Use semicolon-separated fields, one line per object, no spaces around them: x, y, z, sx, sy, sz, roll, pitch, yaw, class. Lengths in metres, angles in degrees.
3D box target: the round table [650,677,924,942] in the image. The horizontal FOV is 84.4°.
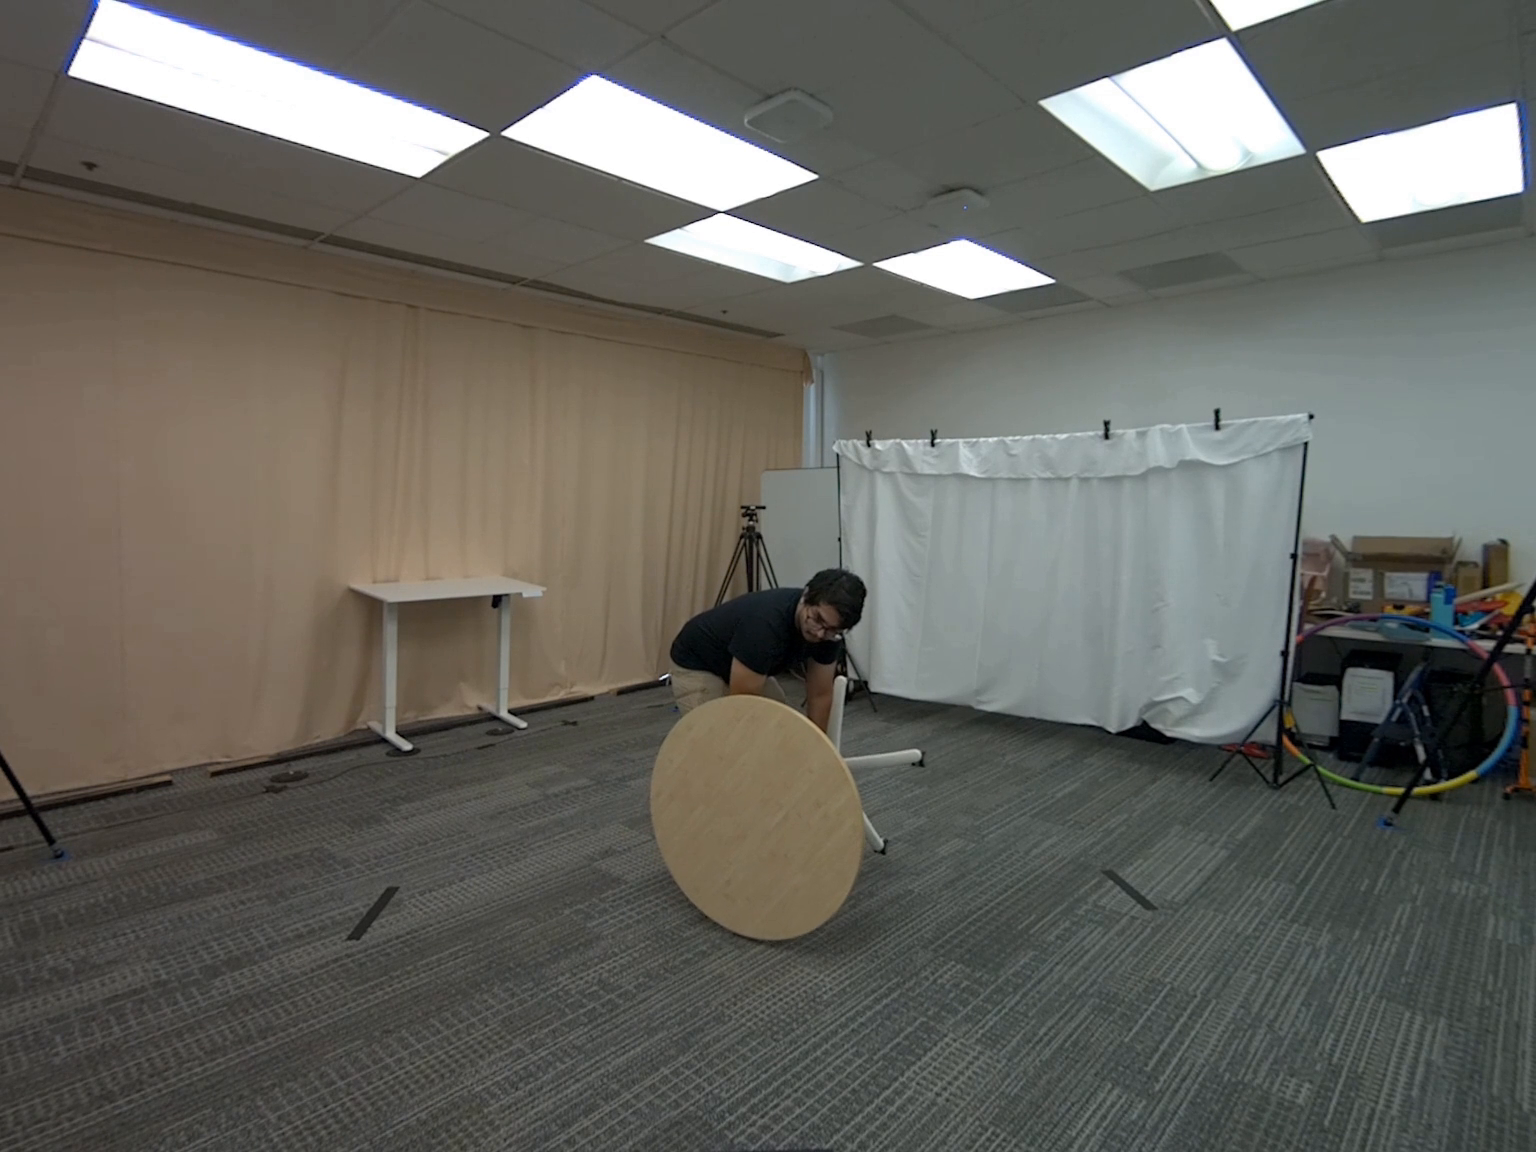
0.125;0.747;3.025;0.807;0.784;0.765;2;3;29;round table
